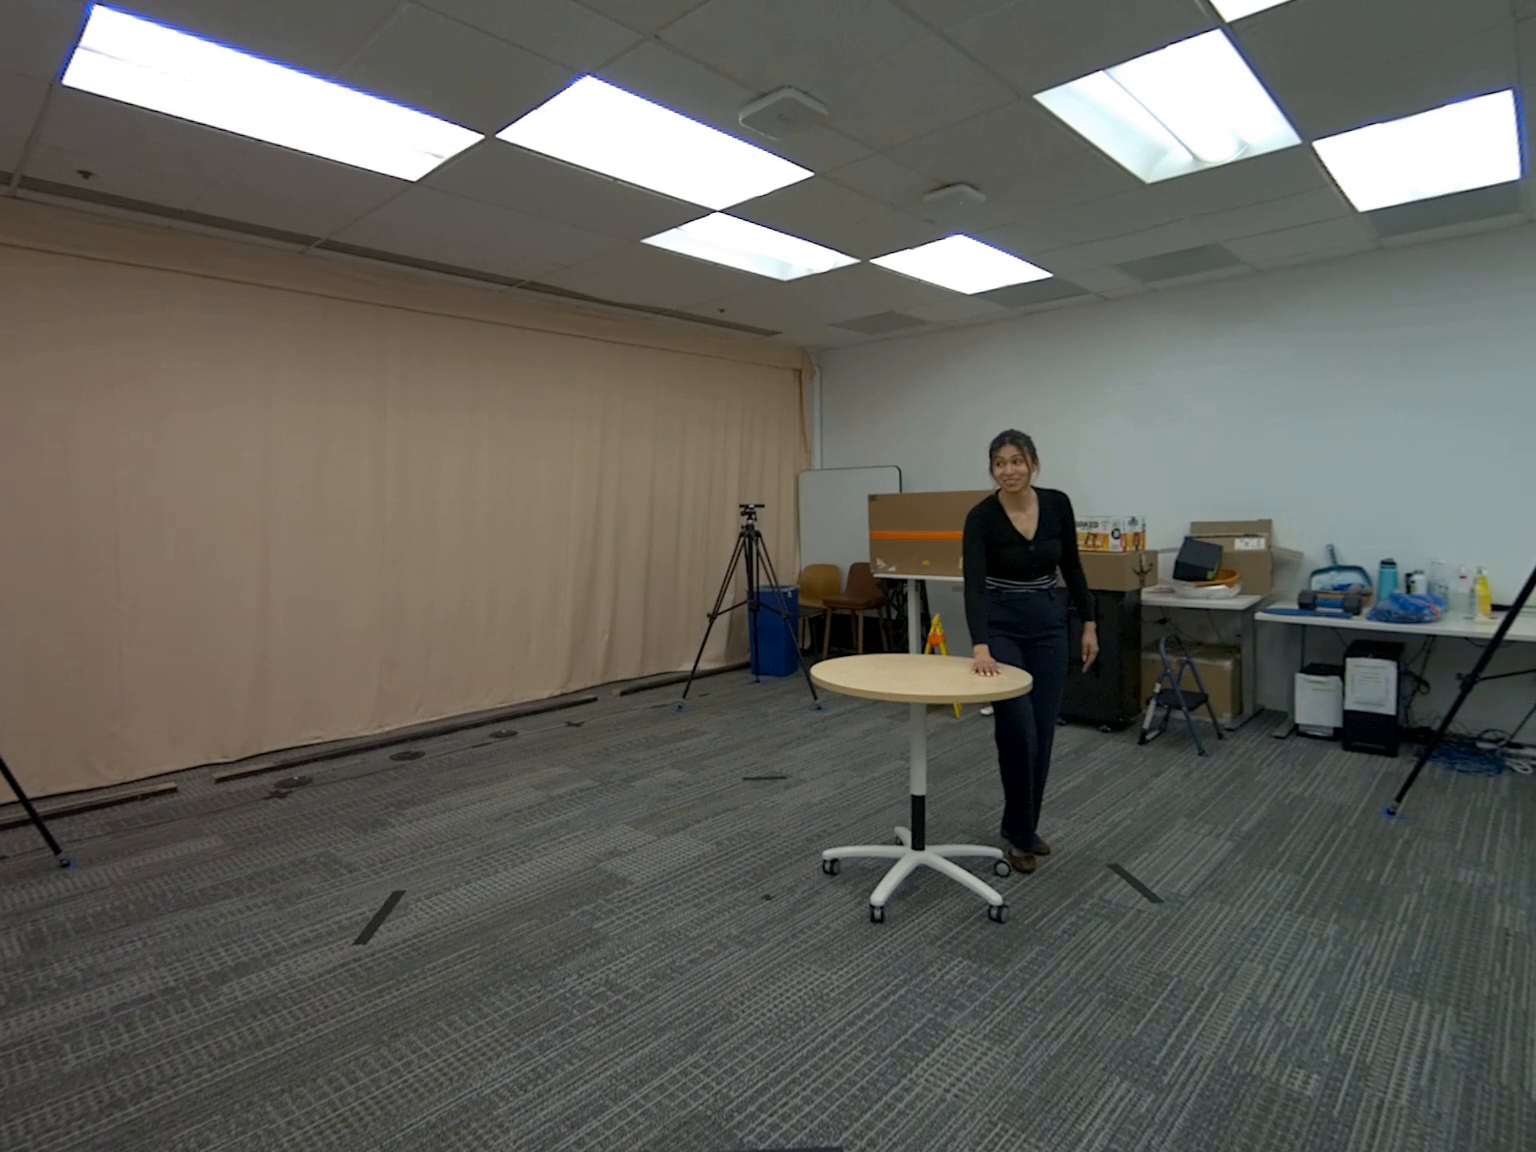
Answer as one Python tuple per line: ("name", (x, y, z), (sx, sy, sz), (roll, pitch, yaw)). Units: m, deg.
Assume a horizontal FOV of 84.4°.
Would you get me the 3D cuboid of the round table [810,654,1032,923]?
("round table", (0.543, 0.738, 3.023), (0.763, 0.792, 0.766), (-1, 4, -2))
